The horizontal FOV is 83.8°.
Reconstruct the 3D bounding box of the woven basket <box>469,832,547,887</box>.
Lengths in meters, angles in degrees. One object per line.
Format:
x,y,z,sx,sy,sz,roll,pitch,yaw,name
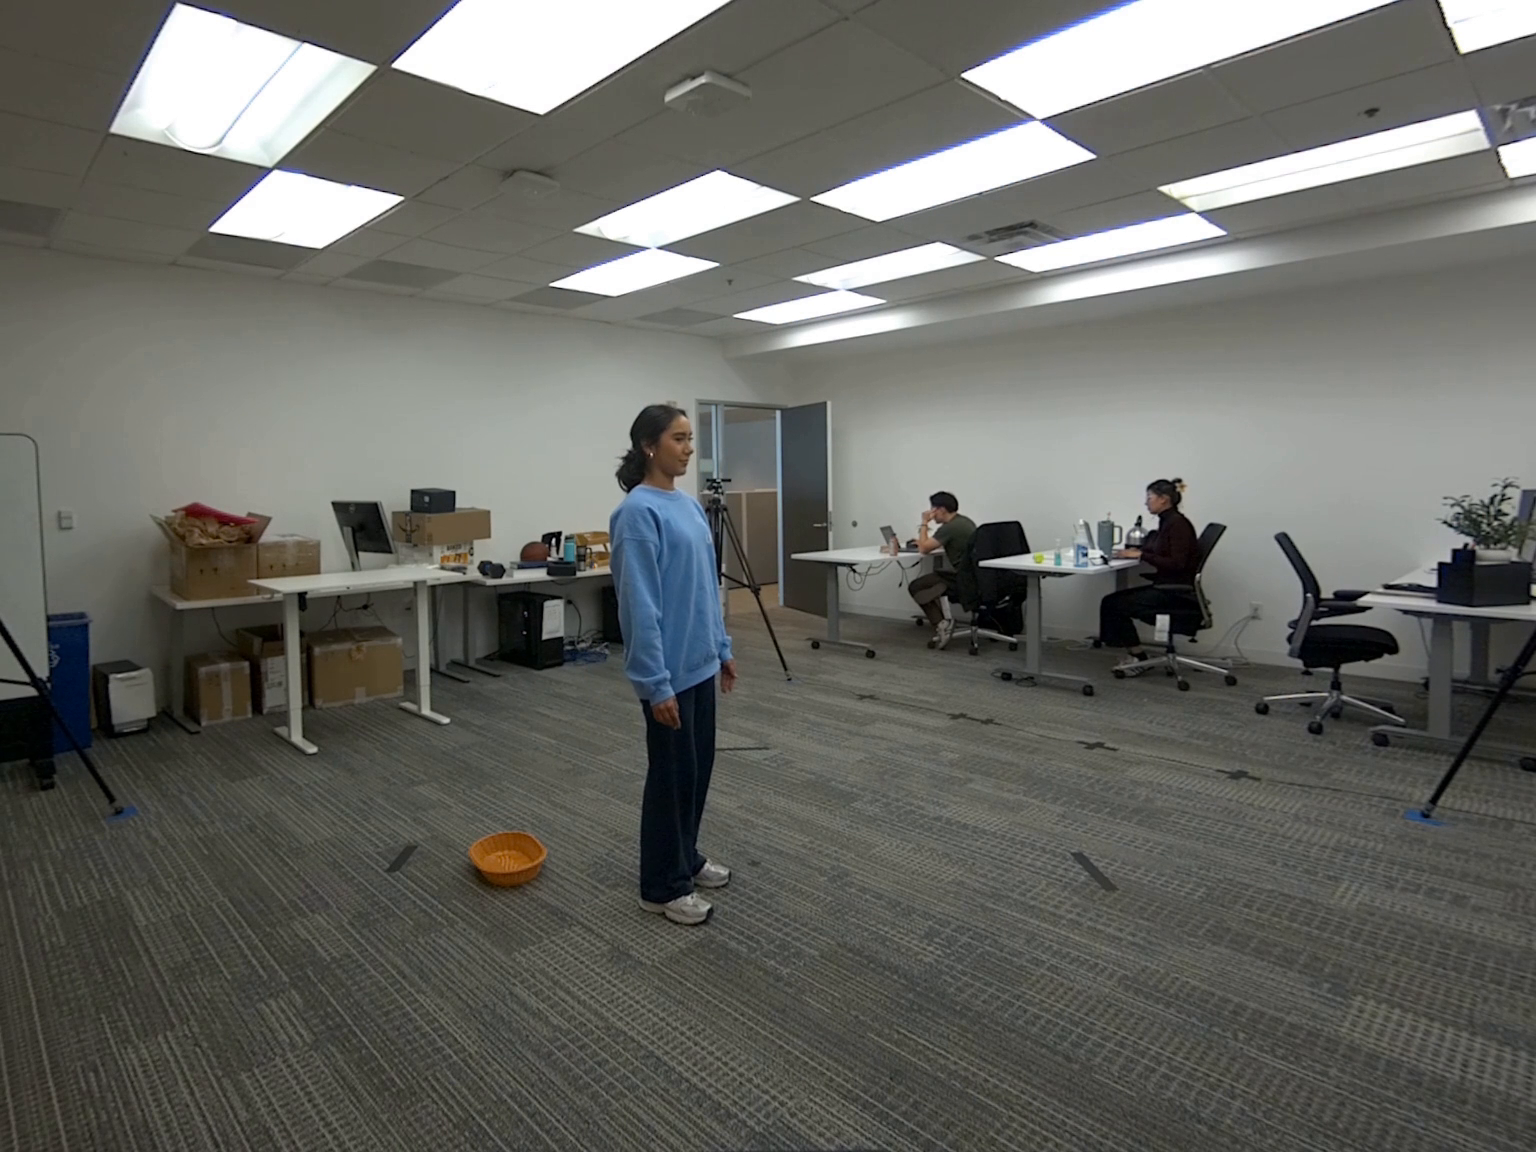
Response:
-0.934,1.025,3.094,0.246,0.073,0.361,-7,9,-33,woven basket
